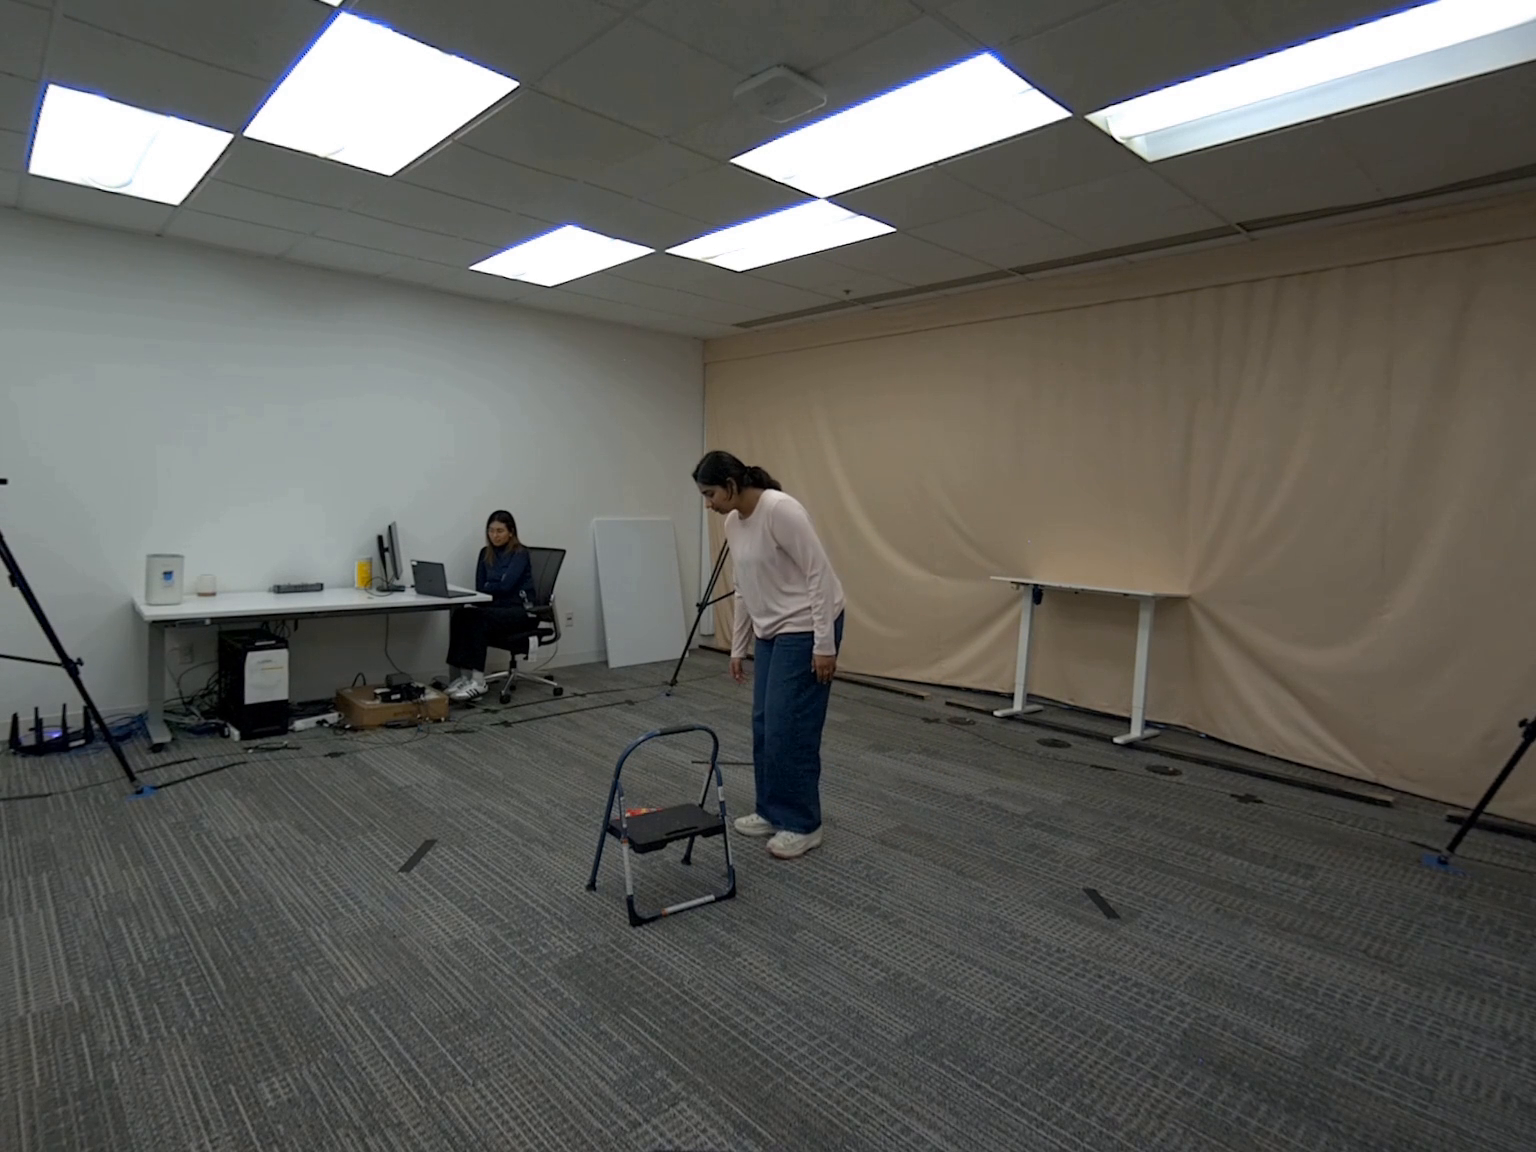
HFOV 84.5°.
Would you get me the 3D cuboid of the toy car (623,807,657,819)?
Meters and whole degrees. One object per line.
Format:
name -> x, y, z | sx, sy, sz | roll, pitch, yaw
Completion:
toy car -> -0.527, 1.022, 3.536 | 0.248, 0.083, 0.133 | 12, -5, -39
